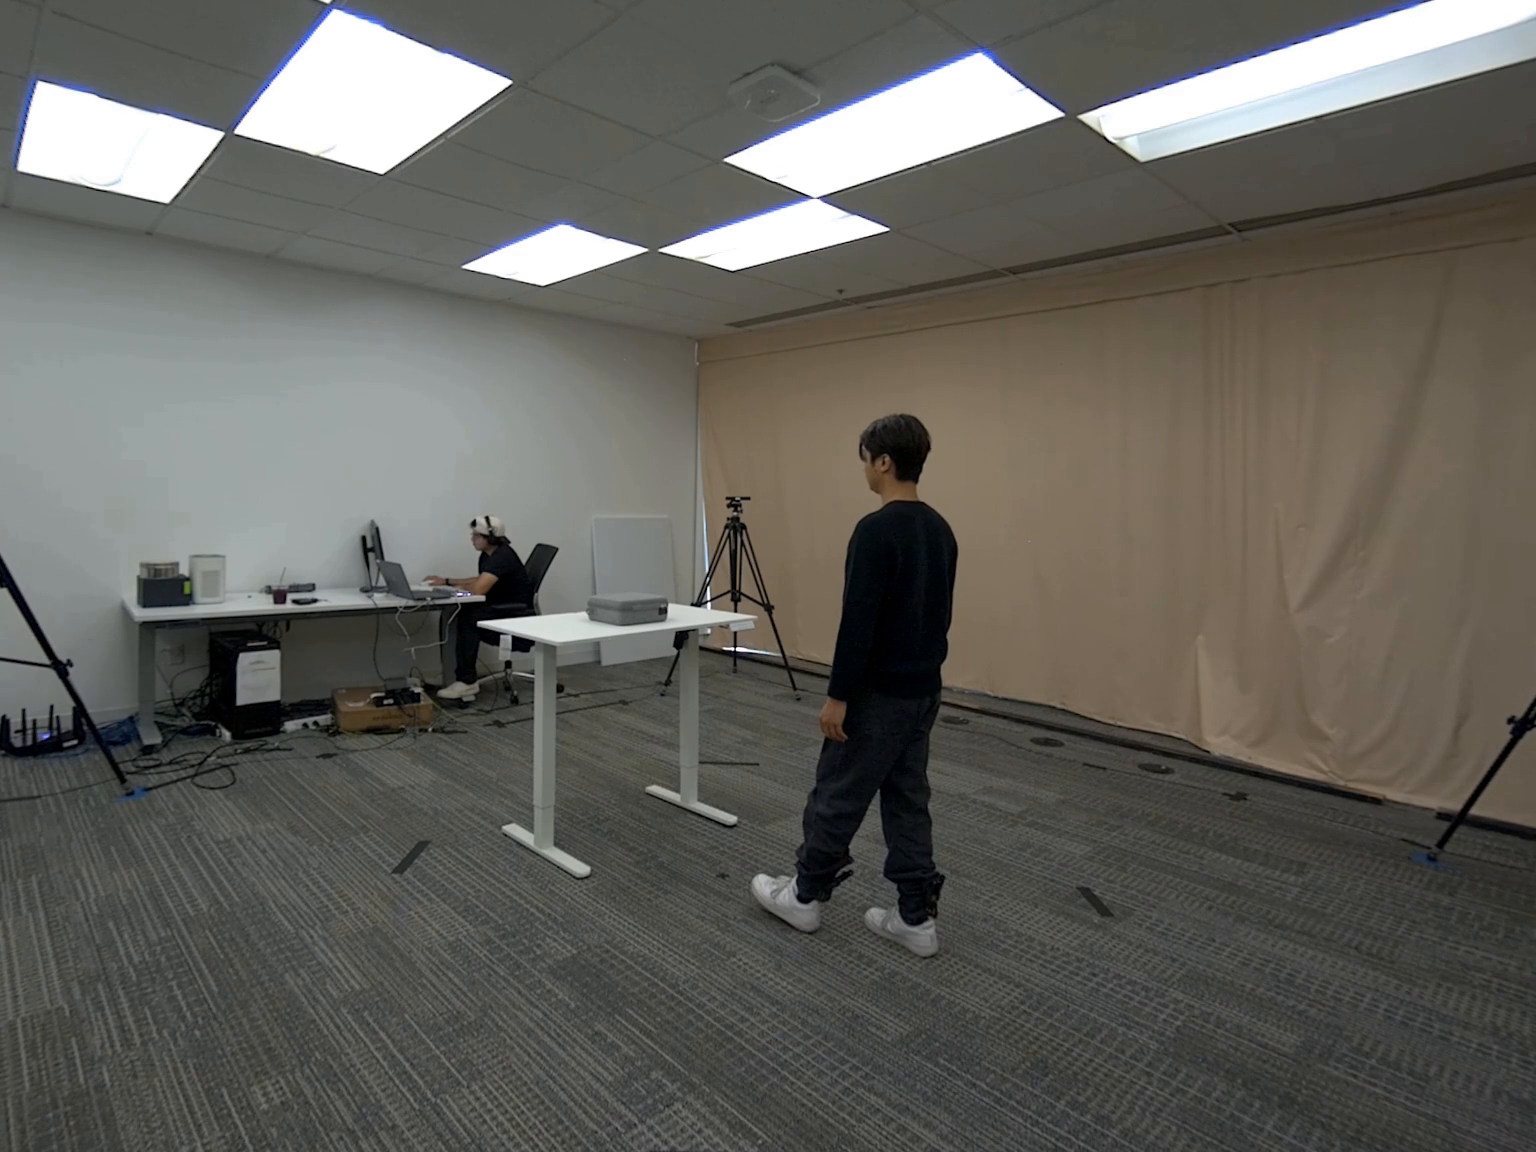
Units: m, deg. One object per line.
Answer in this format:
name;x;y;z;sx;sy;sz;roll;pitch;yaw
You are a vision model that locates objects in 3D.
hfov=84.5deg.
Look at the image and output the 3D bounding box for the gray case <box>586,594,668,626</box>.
gray case;-0.588;0.132;3.454;0.251;0.104;0.267;-6;7;-44
